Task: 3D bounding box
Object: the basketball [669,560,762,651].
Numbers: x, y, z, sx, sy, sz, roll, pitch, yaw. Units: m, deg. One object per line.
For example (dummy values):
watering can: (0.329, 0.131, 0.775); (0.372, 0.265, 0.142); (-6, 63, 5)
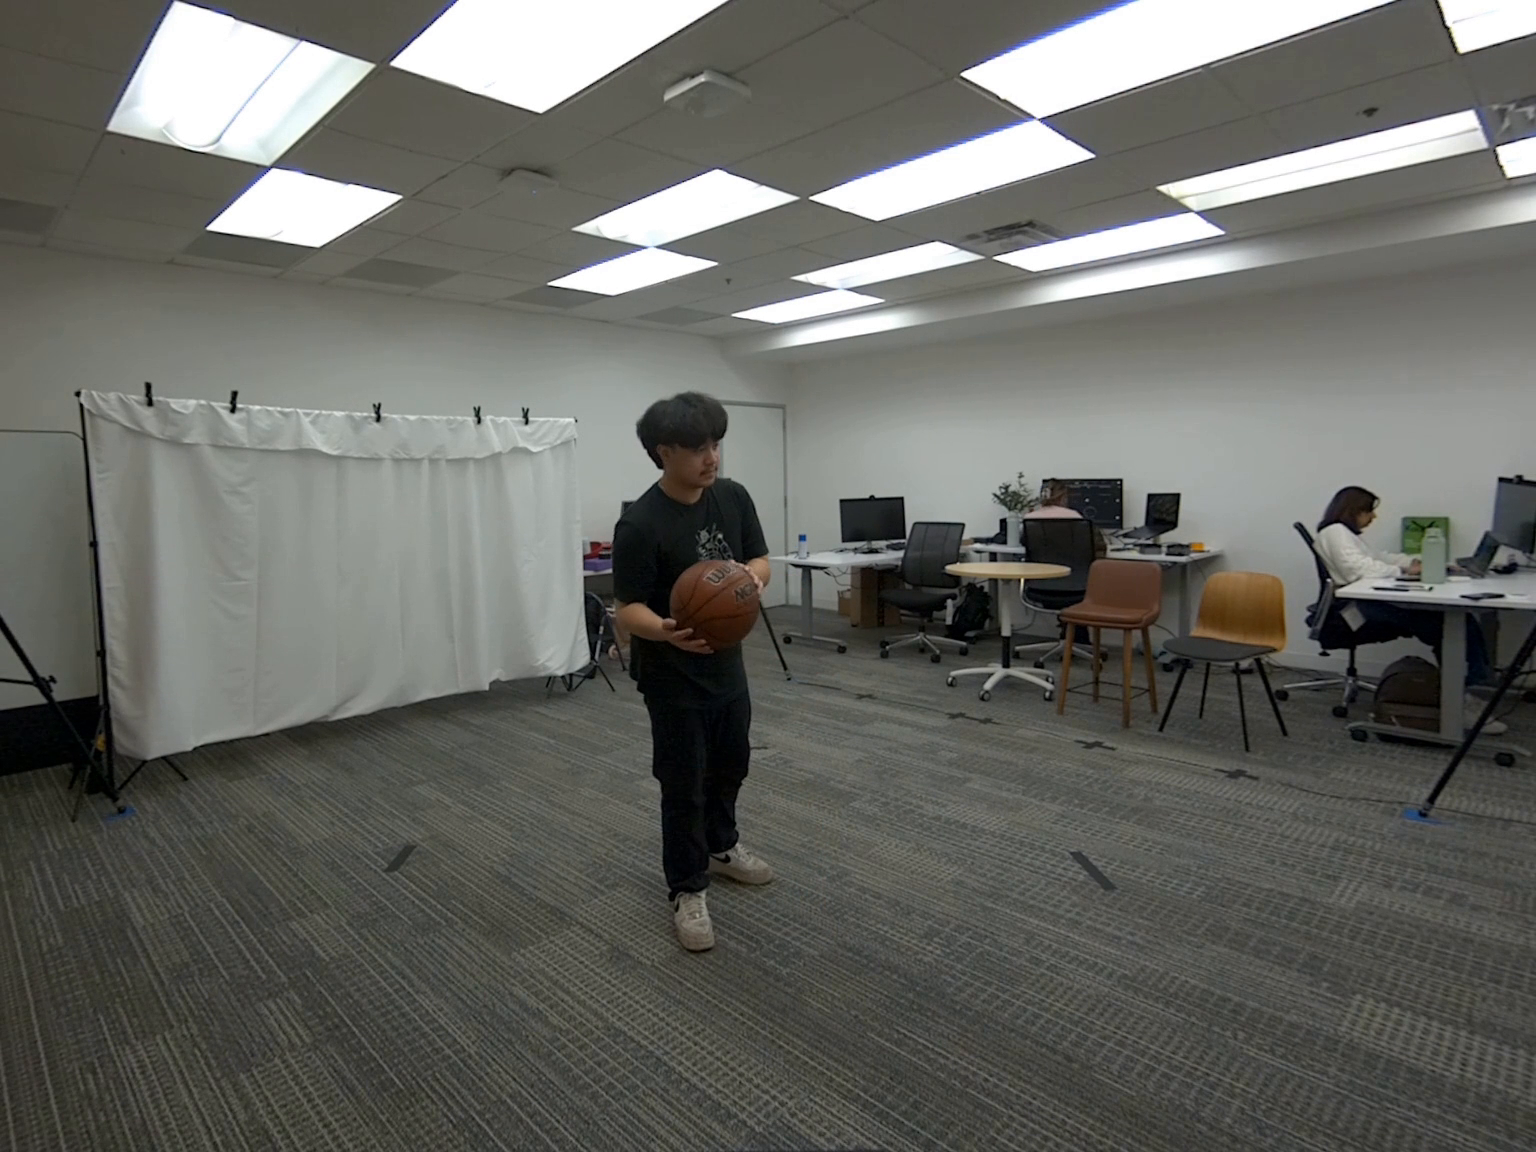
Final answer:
basketball: (-0.132, 0.074, 2.273); (0.236, 0.235, 0.237); (-1, 5, -2)
